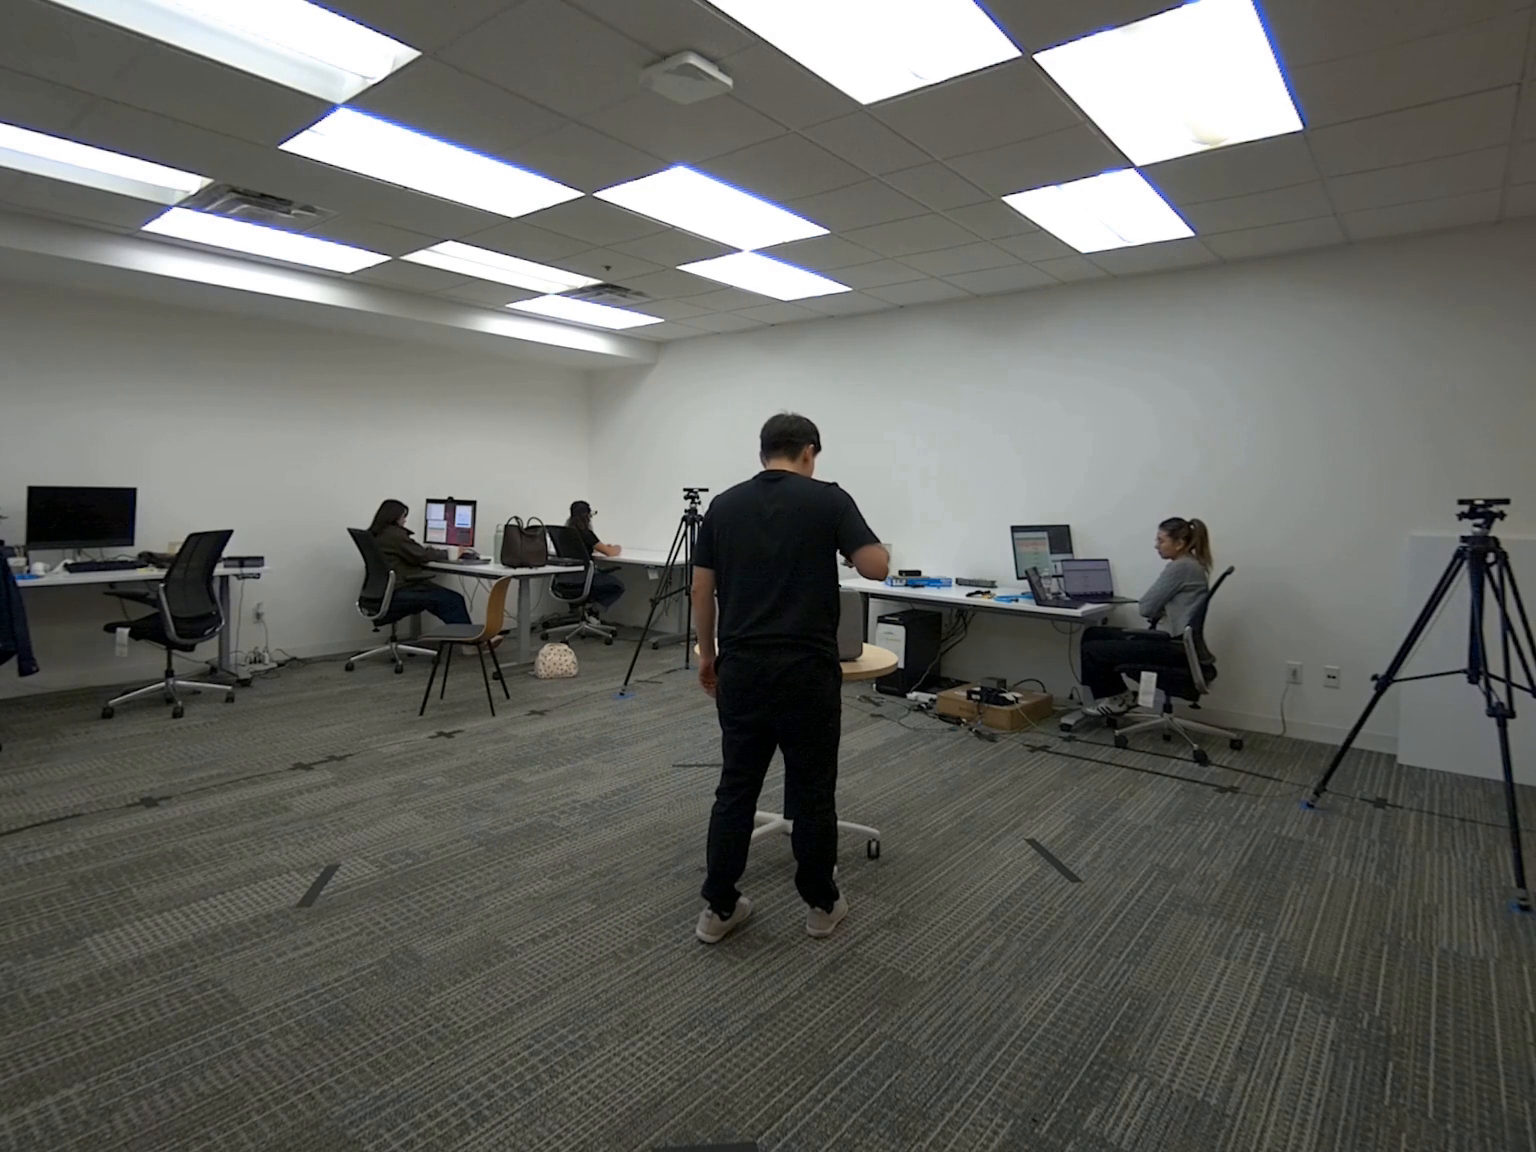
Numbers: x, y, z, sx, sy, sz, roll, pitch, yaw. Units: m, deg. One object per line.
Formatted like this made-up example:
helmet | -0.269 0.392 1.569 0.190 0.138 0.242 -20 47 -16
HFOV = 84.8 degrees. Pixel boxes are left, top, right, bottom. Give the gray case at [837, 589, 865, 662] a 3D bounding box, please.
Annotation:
gray case | 0.207 0.169 3.086 0.253 0.262 0.105 1 -7 -13
